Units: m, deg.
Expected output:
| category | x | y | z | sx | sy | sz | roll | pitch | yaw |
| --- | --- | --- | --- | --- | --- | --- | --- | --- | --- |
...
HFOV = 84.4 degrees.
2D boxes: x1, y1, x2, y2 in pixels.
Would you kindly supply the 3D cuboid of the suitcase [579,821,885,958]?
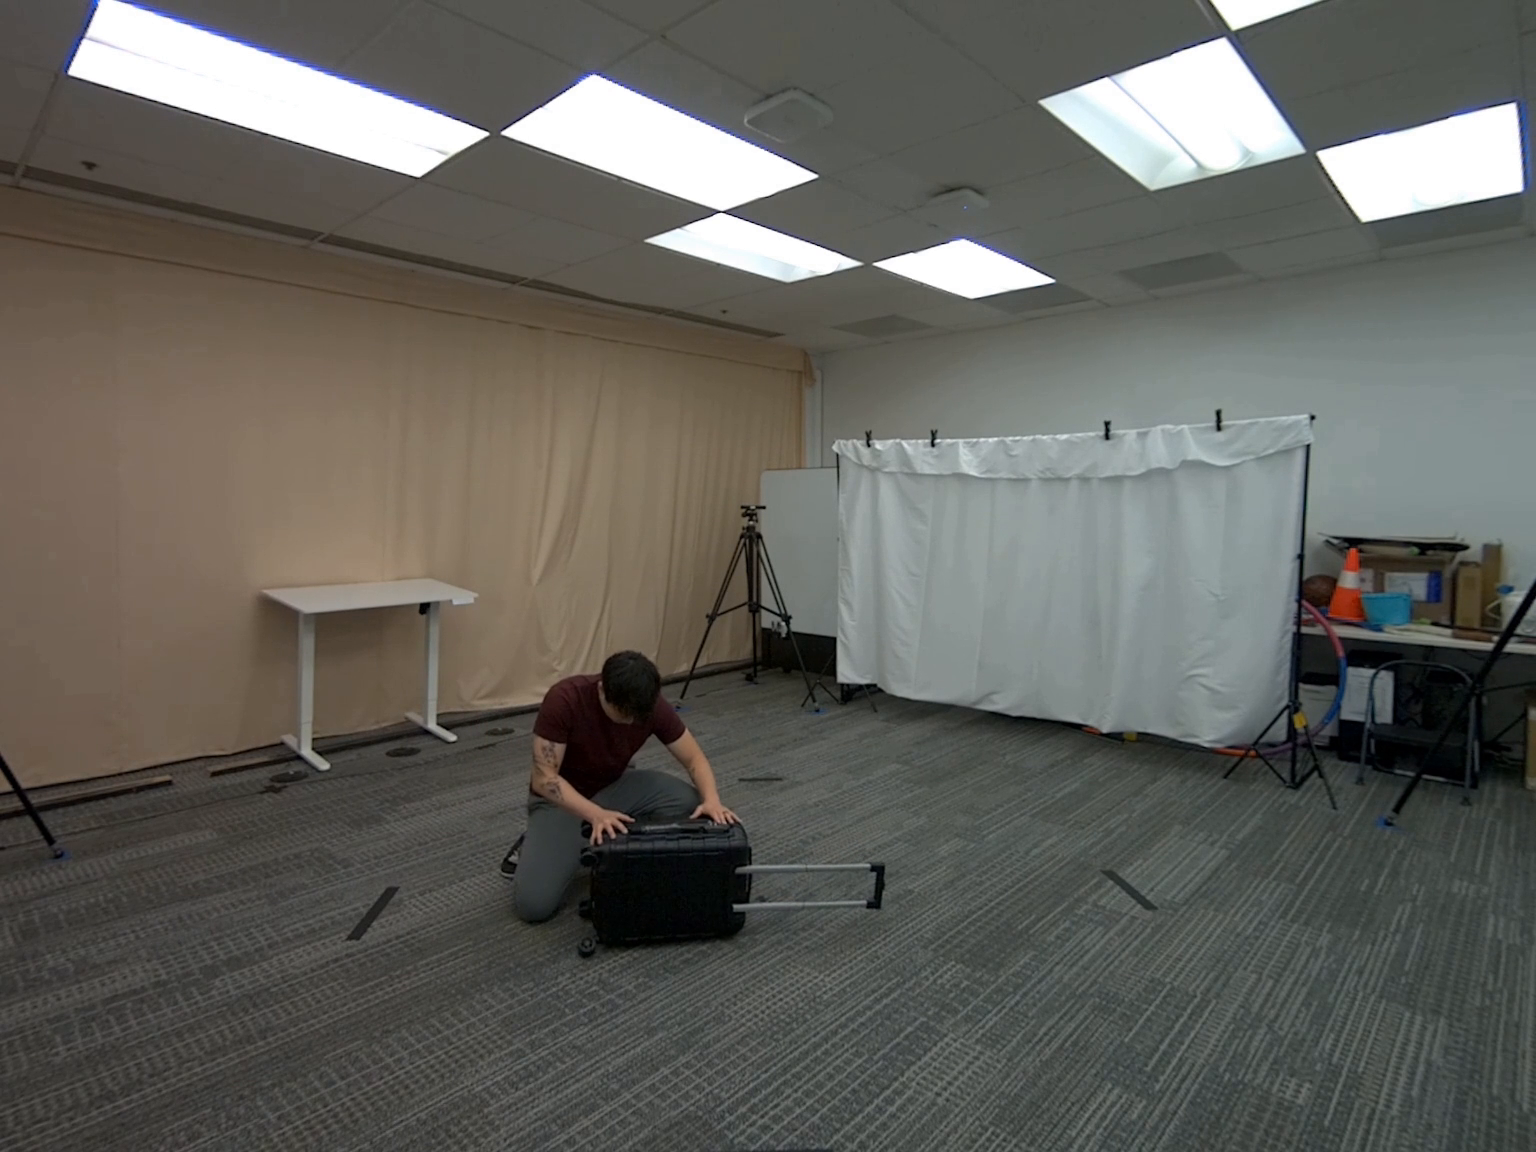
| category | x | y | z | sx | sy | sz | roll | pitch | yaw |
| --- | --- | --- | --- | --- | --- | --- | --- | --- | --- |
| suitcase | -0.121 | 0.977 | 2.776 | 0.966 | 0.383 | 0.261 | 1 | 6 | -11 |
